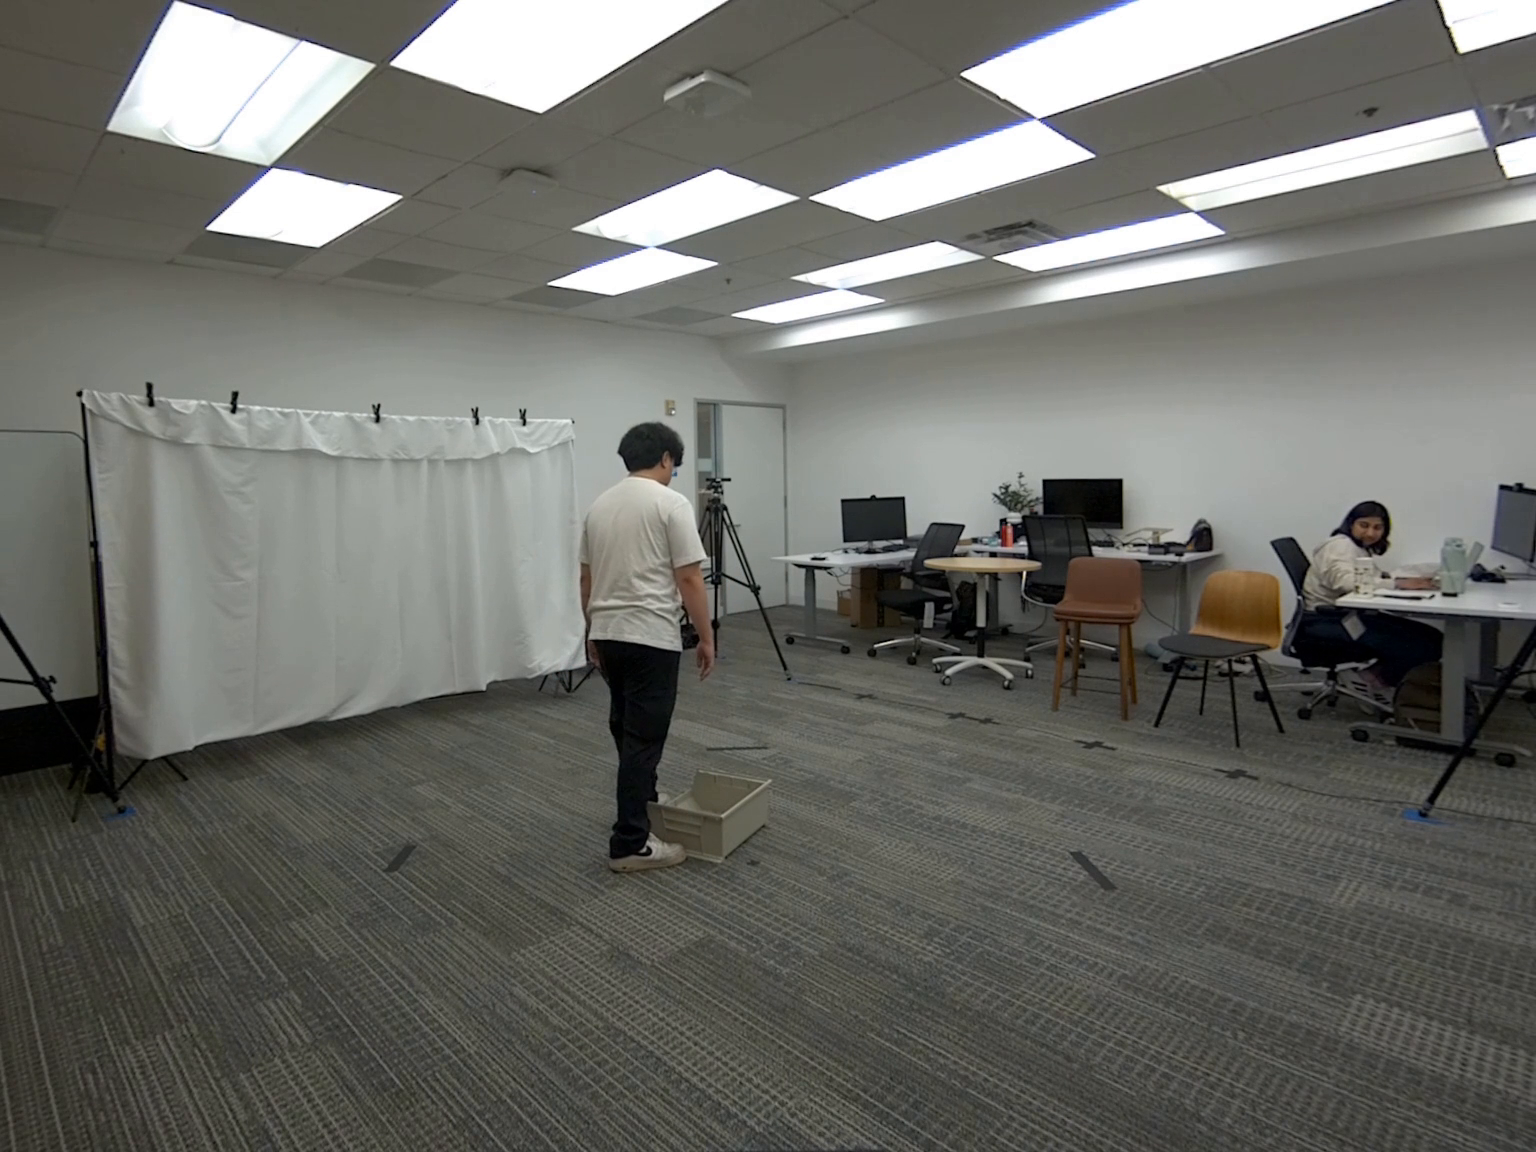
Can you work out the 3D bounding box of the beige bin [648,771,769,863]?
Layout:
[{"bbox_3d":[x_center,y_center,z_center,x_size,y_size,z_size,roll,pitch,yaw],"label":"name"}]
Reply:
[{"bbox_3d":[-0.243,0.925,3.358,0.387,0.188,0.414,3,7,27],"label":"beige bin"}]
